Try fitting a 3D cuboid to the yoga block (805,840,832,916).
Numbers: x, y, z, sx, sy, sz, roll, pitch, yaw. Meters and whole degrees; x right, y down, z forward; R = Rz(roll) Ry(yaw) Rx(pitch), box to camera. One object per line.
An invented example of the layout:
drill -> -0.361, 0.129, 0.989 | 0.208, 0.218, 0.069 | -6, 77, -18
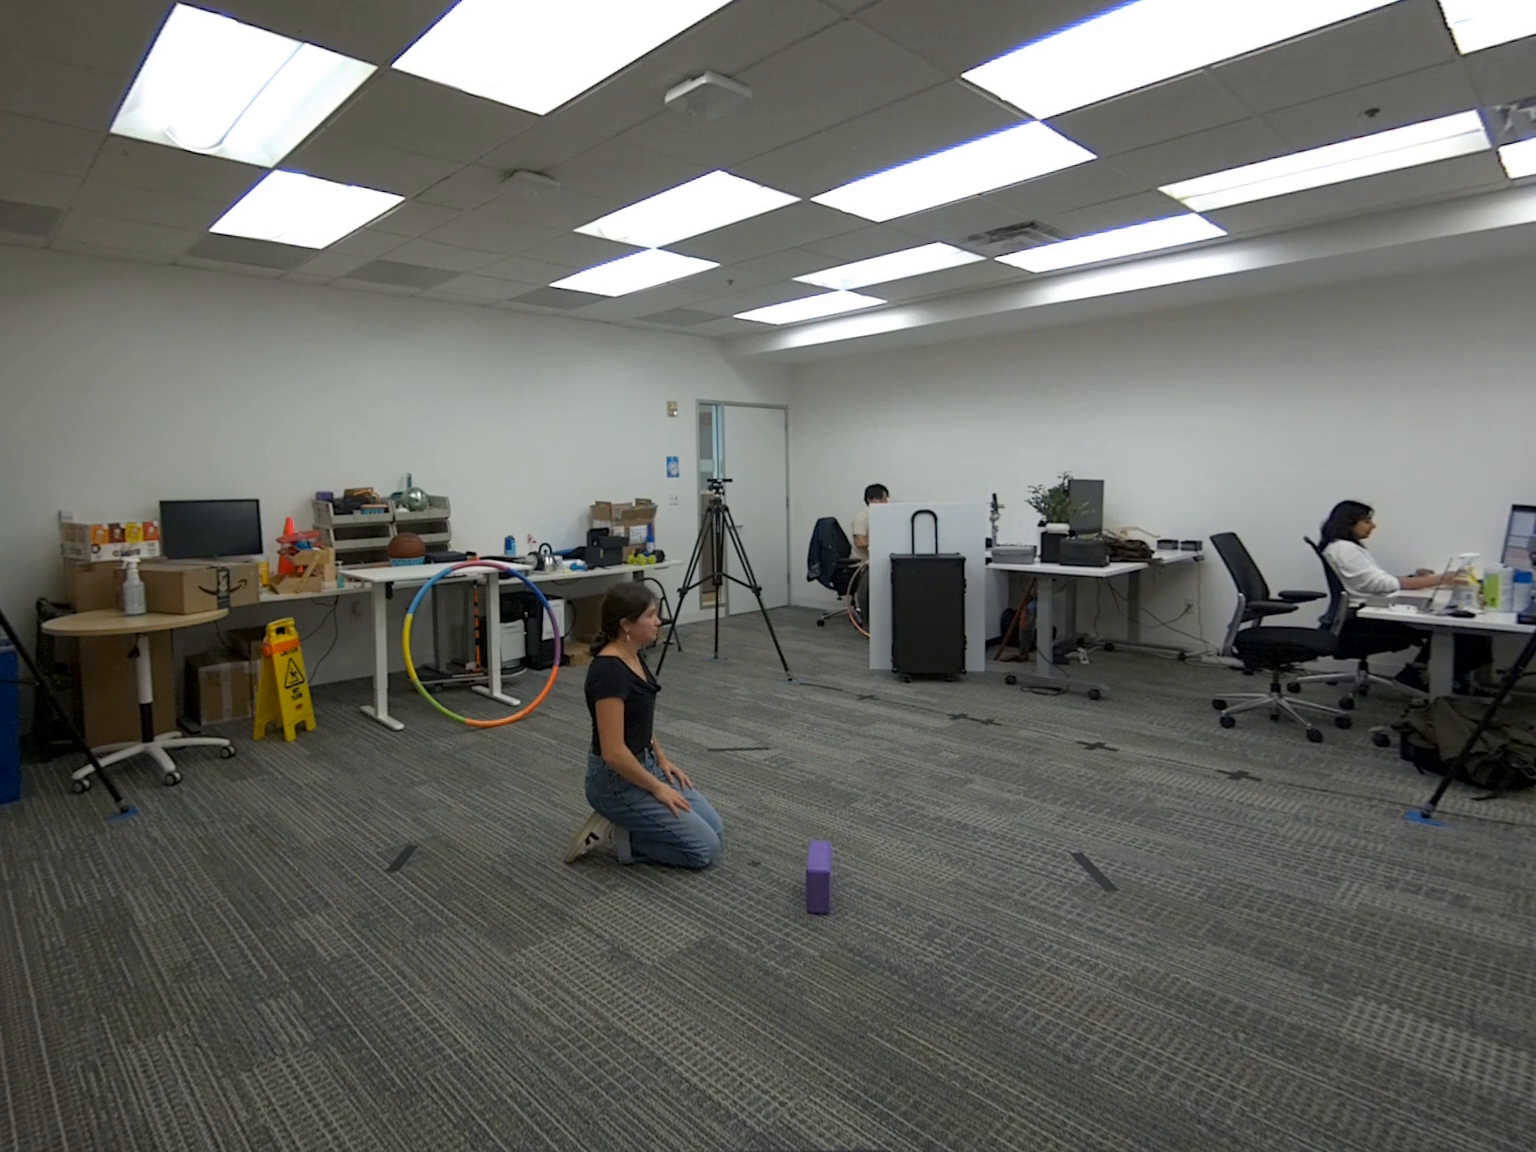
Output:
yoga block -> 0.173, 0.994, 2.842 | 0.077, 0.148, 0.229 | 1, 5, 5
